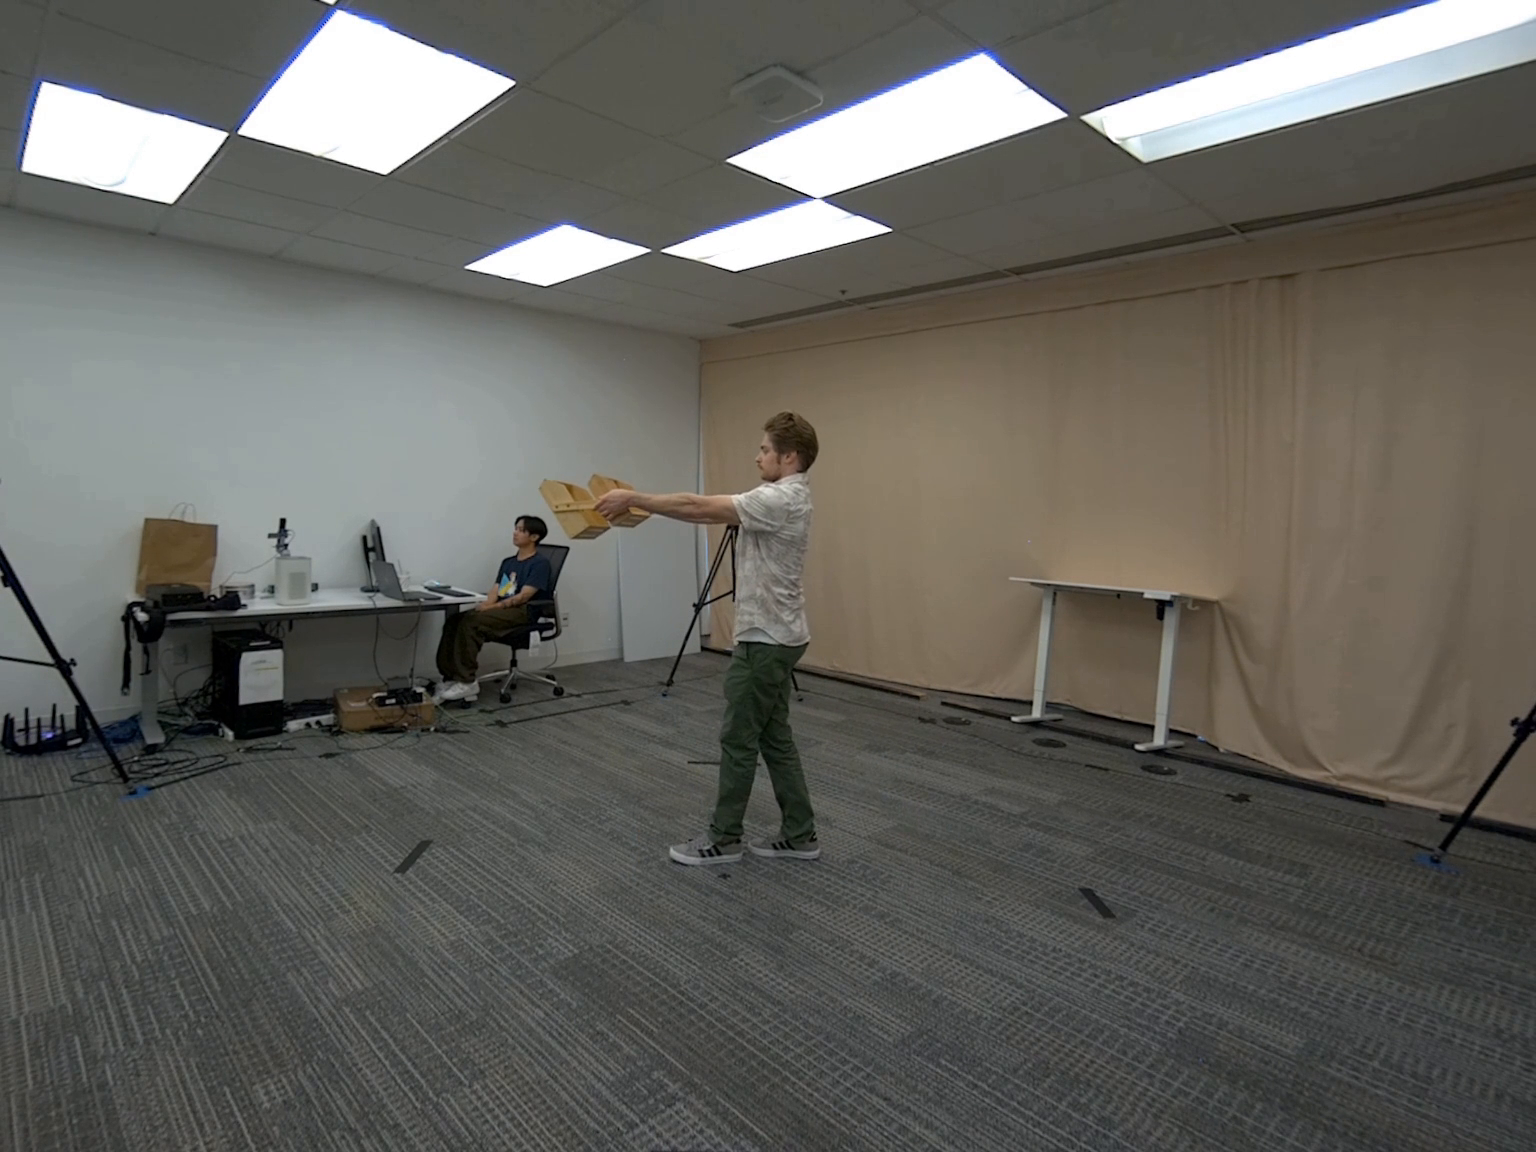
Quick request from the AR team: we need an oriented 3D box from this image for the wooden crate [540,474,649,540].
[{"bbox_3d":[-0.688,-0.298,3.339,0.274,0.303,0.322,-33,-3,7],"label":"wooden crate"}]
